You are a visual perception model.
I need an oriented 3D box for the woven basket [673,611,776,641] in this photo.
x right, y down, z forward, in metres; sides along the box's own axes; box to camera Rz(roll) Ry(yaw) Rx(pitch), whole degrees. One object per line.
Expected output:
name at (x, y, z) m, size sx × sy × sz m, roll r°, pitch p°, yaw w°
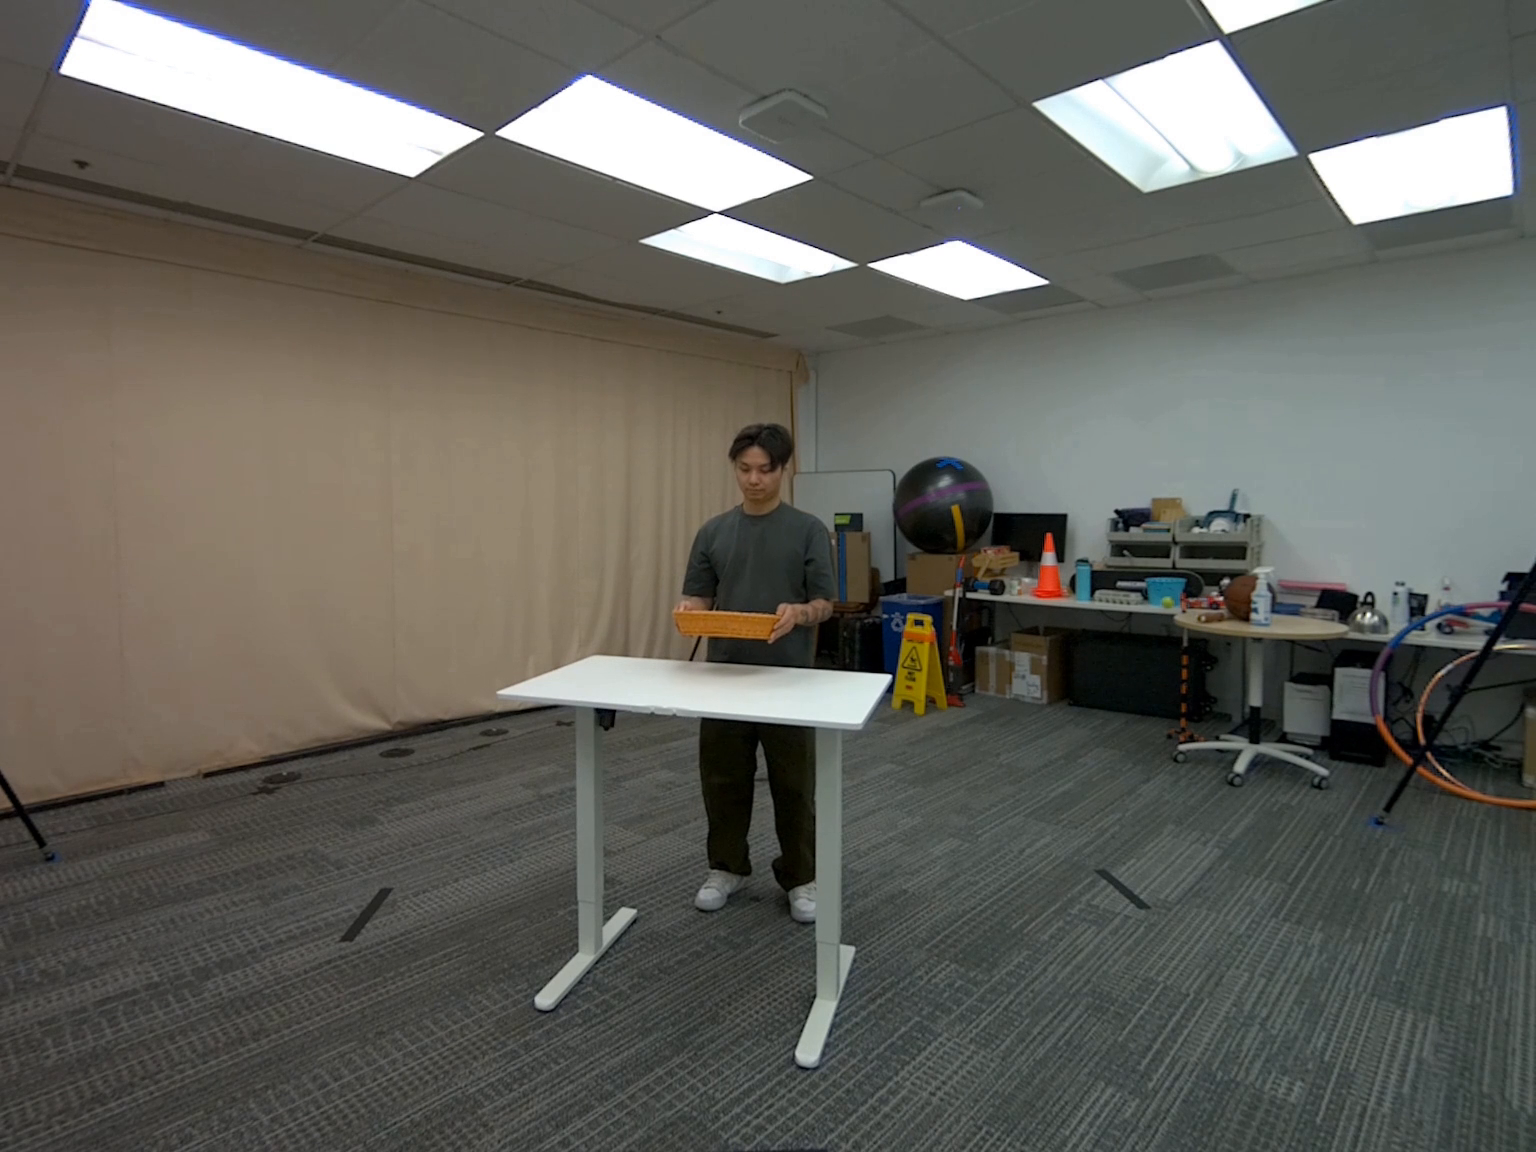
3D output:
woven basket at (-0.102, 0.152, 2.597) m, size 0.350 × 0.073 × 0.252 m, roll 0°, pitch -3°, yaw -1°
